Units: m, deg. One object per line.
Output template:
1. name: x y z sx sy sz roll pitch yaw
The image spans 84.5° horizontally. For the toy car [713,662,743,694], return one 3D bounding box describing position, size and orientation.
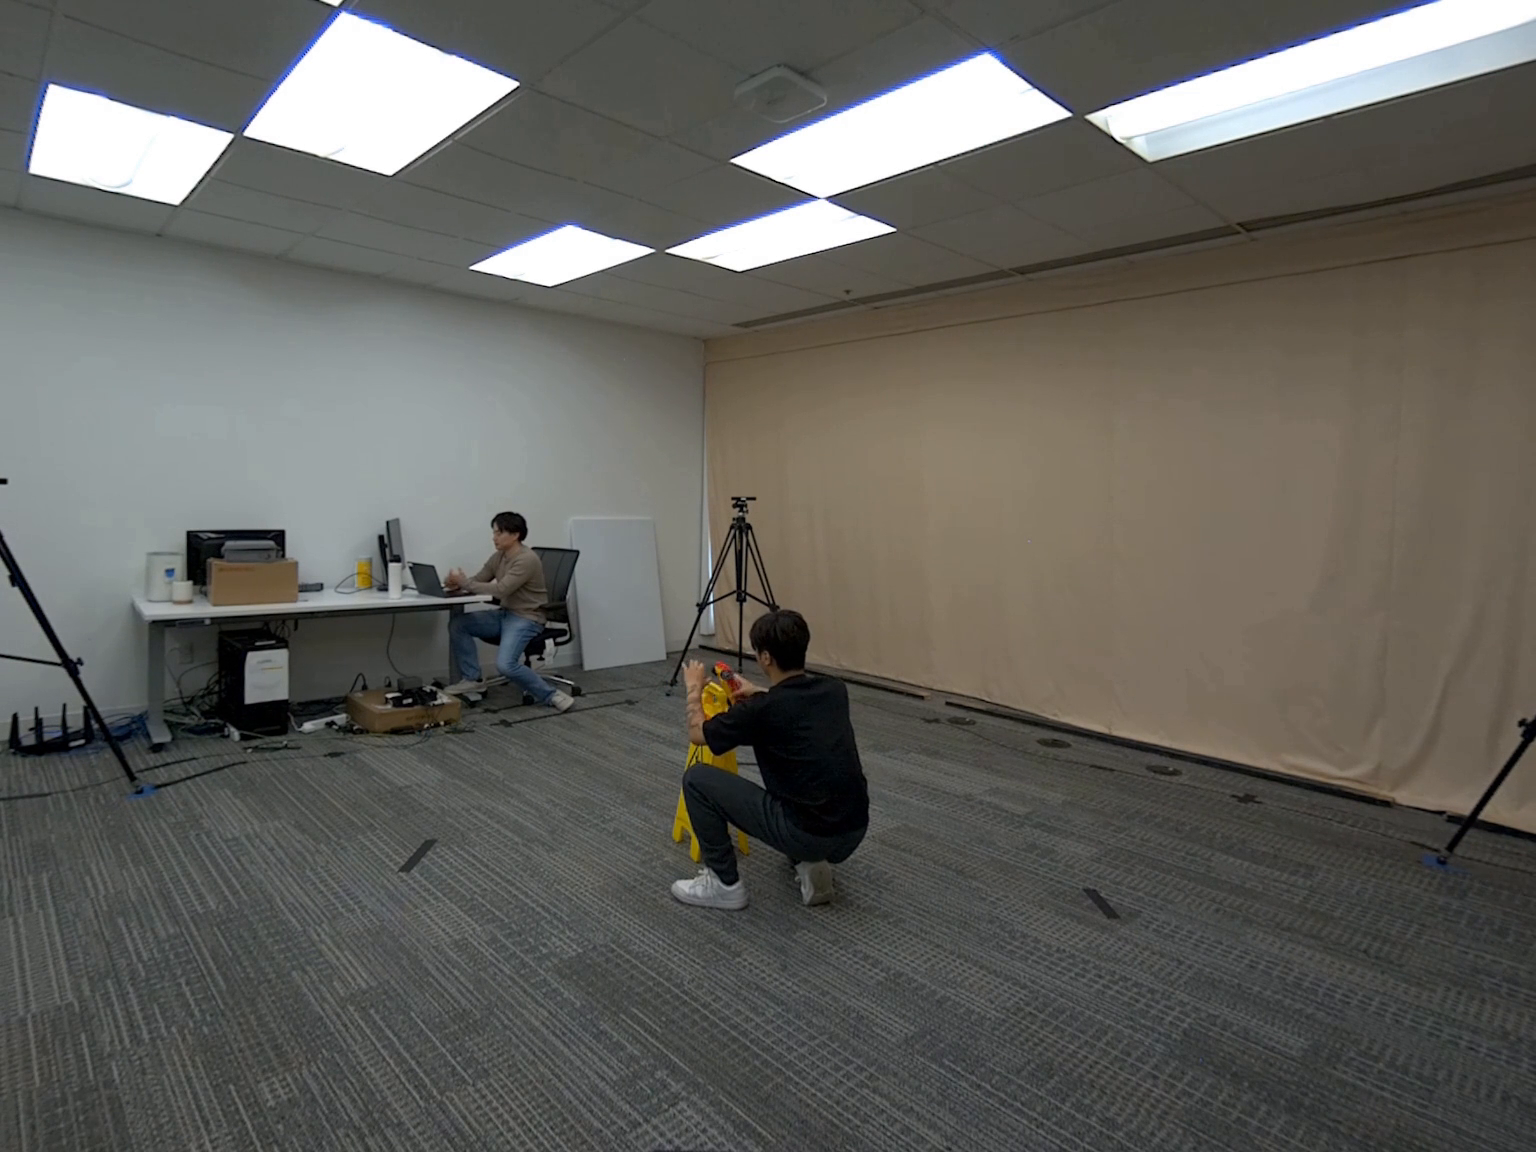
1. toy car: -0.142 0.465 3.418 0.249 0.083 0.133 48 -19 -24
